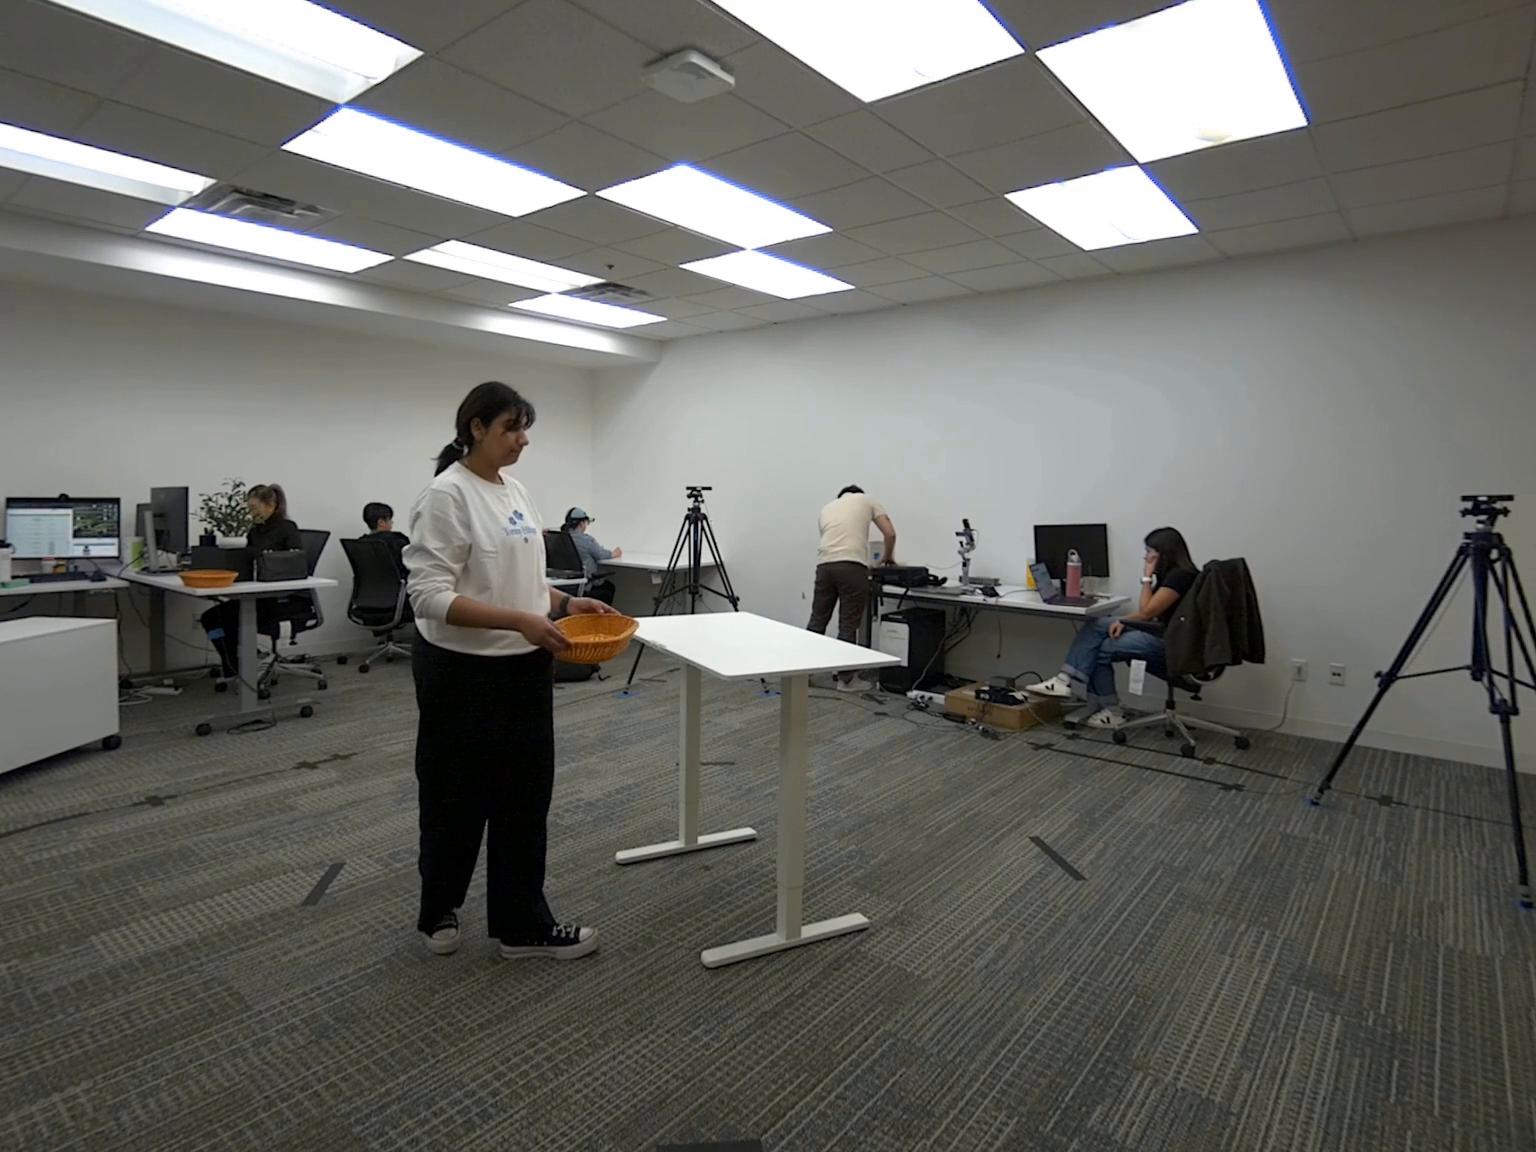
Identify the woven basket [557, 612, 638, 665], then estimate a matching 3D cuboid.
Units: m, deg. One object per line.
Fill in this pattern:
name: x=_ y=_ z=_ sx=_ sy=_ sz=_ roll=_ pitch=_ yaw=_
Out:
woven basket: x=-0.546 y=0.184 z=2.448 sx=0.257 sy=0.073 sz=0.347 roll=4 pitch=10 yaw=15
